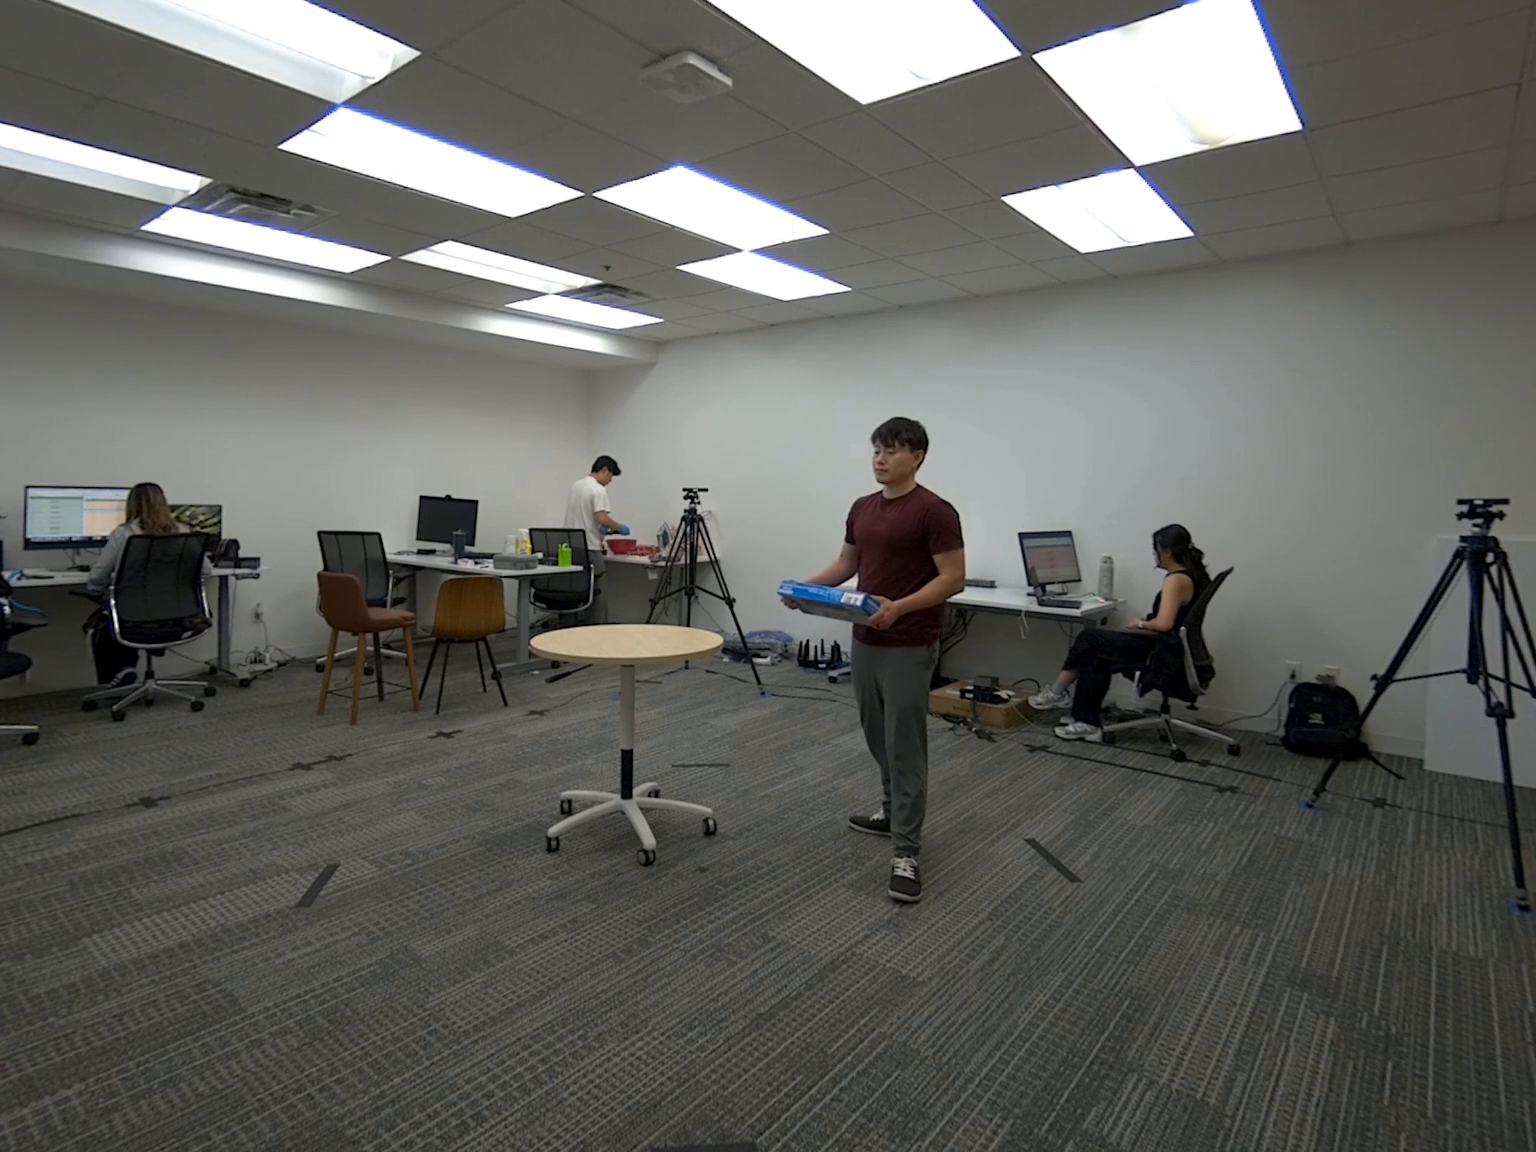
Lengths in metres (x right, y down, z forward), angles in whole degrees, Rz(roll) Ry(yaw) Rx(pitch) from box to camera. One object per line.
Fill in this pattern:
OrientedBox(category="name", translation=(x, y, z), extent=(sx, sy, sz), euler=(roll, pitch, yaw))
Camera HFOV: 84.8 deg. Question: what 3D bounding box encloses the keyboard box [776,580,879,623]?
OrientedBox(category="keyboard box", translation=(0.243, 0.096, 3.146), extent=(0.169, 0.059, 0.451), euler=(35, -18, -36))
